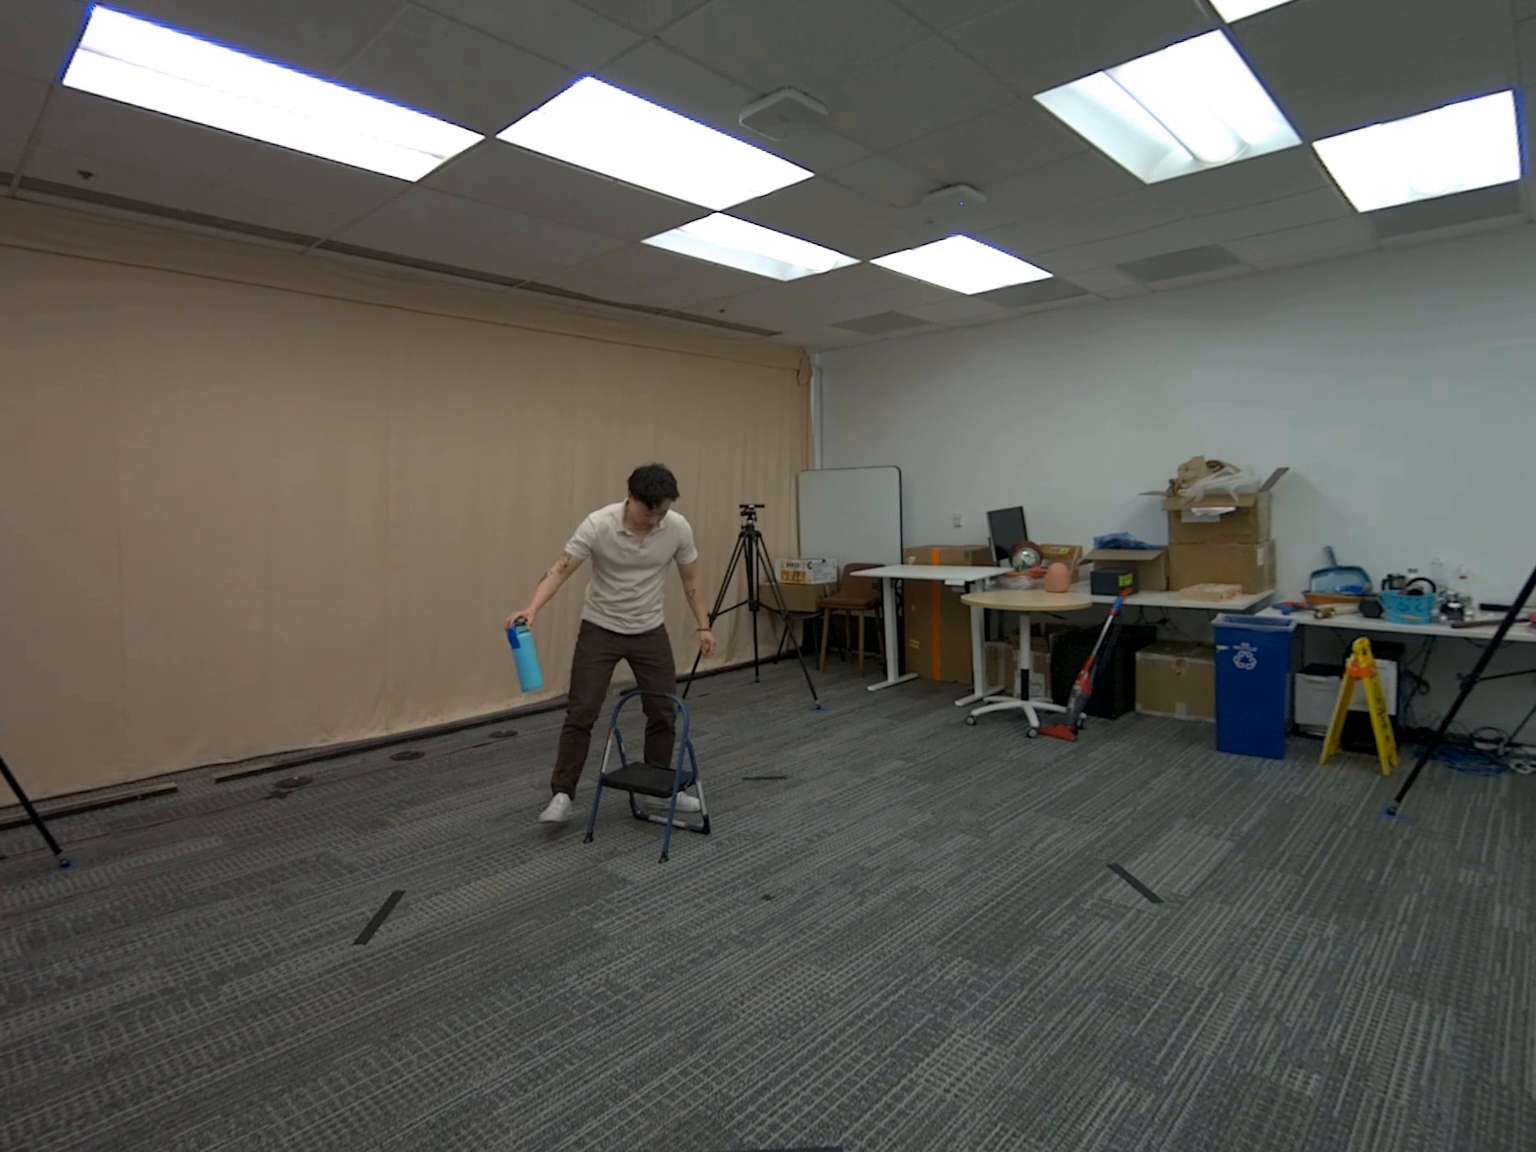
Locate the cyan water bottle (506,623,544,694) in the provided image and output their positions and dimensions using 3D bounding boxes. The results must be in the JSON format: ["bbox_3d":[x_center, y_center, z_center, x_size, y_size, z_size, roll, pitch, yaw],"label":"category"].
[{"bbox_3d":[-0.953,0.324,3.305,0.092,0.283,0.092,-11,2,-1],"label":"cyan water bottle"}]
